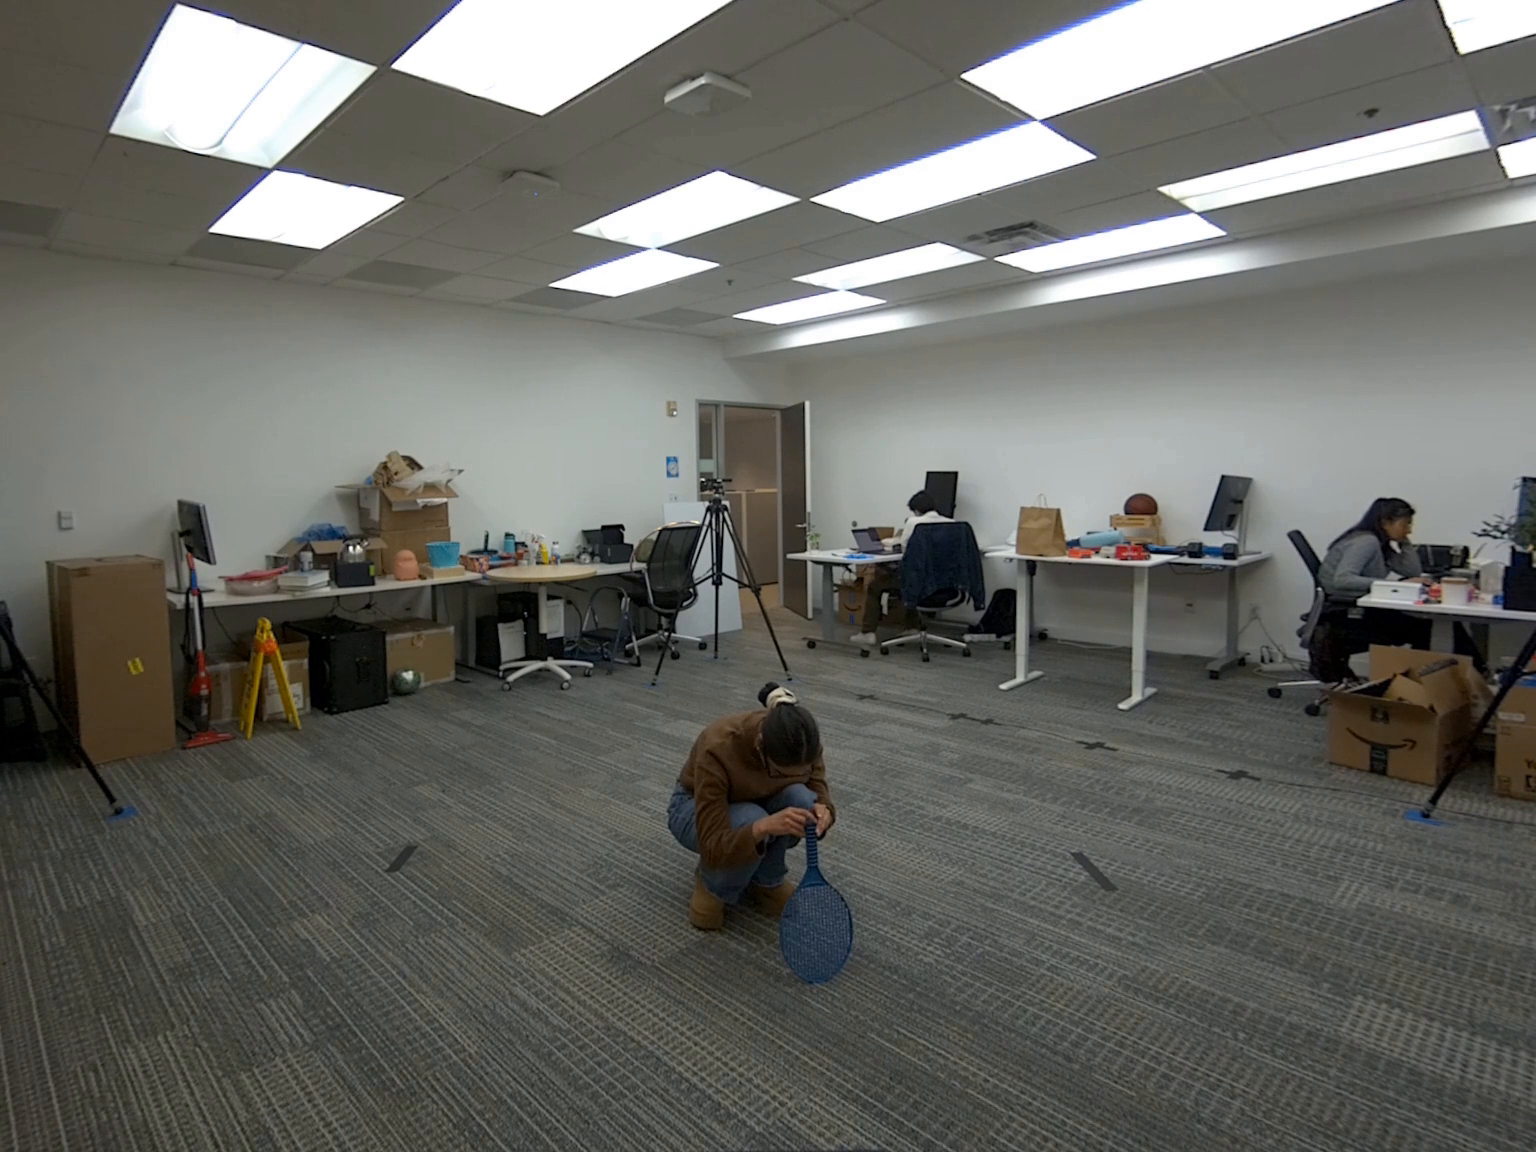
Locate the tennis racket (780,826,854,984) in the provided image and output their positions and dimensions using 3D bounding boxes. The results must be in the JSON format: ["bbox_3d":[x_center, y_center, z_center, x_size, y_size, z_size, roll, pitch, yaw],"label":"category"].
[{"bbox_3d":[0.123,0.917,2.392,0.211,0.435,0.032,-2,-5,-11],"label":"tennis racket"}]
